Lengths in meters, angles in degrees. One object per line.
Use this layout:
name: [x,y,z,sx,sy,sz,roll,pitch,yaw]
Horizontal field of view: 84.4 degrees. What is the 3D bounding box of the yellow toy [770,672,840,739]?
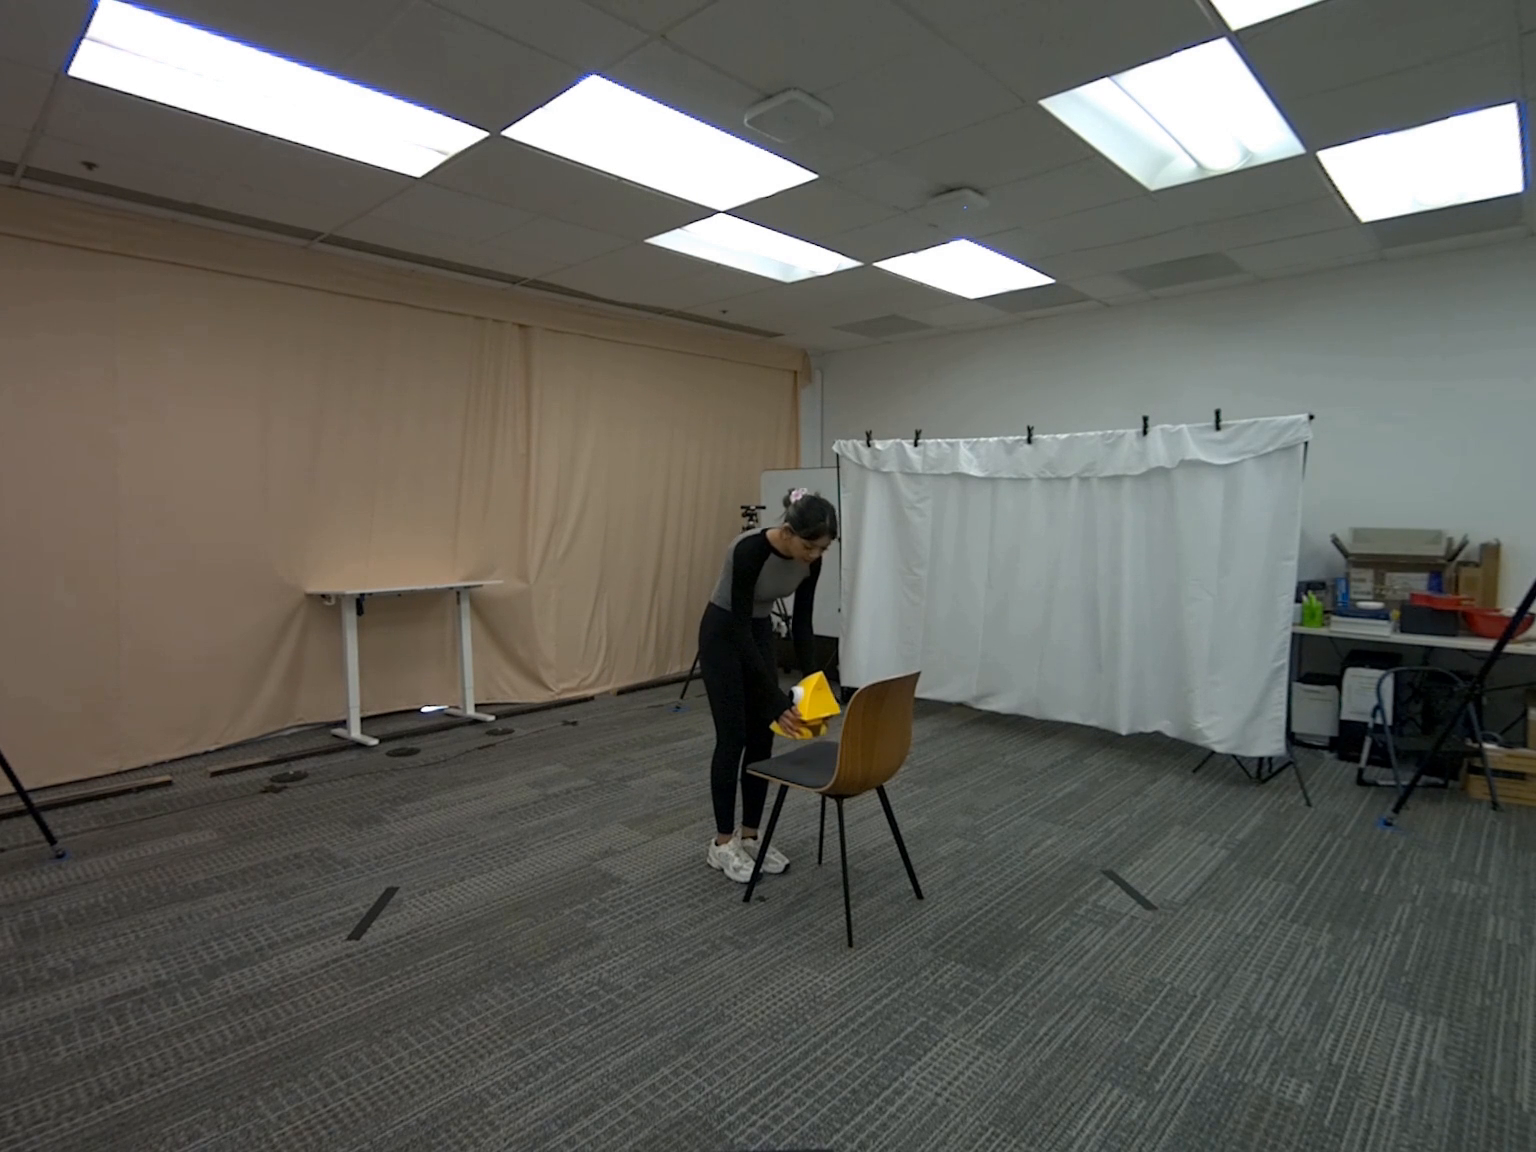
yellow toy: [0.134,0.437,2.991,0.200,0.230,0.198,10,7,41]
